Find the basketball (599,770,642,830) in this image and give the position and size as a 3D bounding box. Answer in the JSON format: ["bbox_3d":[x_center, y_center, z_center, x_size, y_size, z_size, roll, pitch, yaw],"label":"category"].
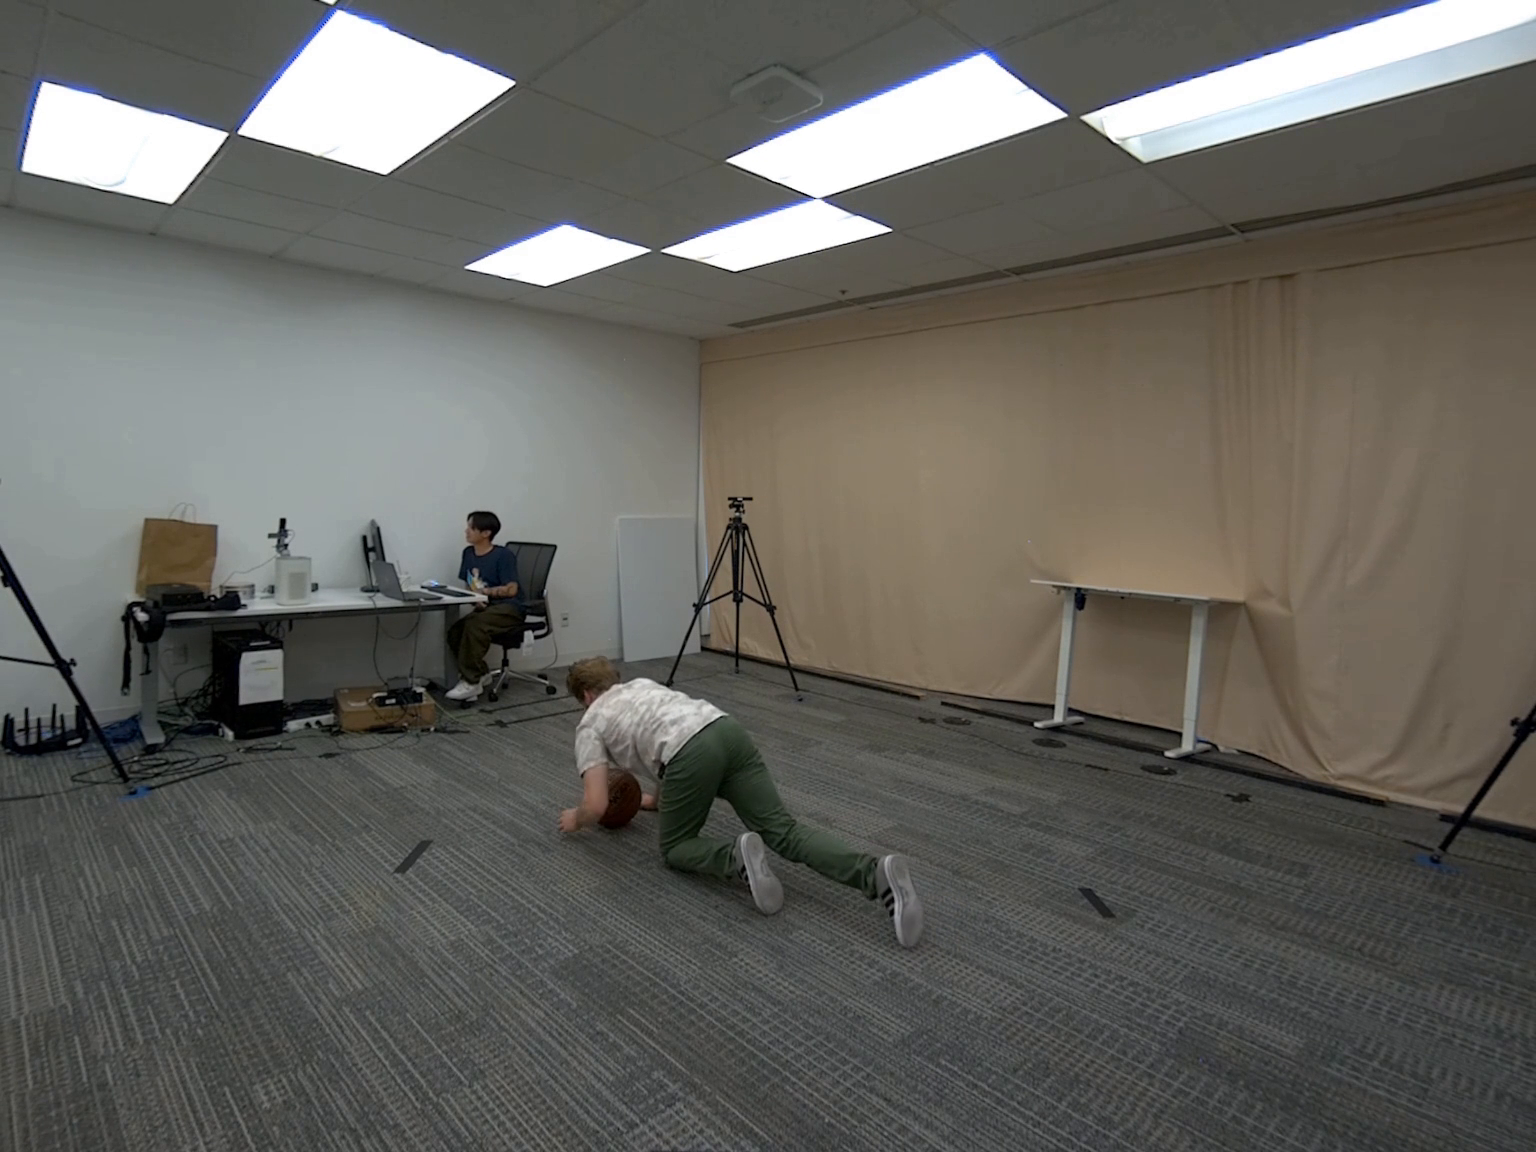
[{"bbox_3d":[-0.665,0.936,3.561,0.236,0.235,0.237,1,4,-1],"label":"basketball"}]
